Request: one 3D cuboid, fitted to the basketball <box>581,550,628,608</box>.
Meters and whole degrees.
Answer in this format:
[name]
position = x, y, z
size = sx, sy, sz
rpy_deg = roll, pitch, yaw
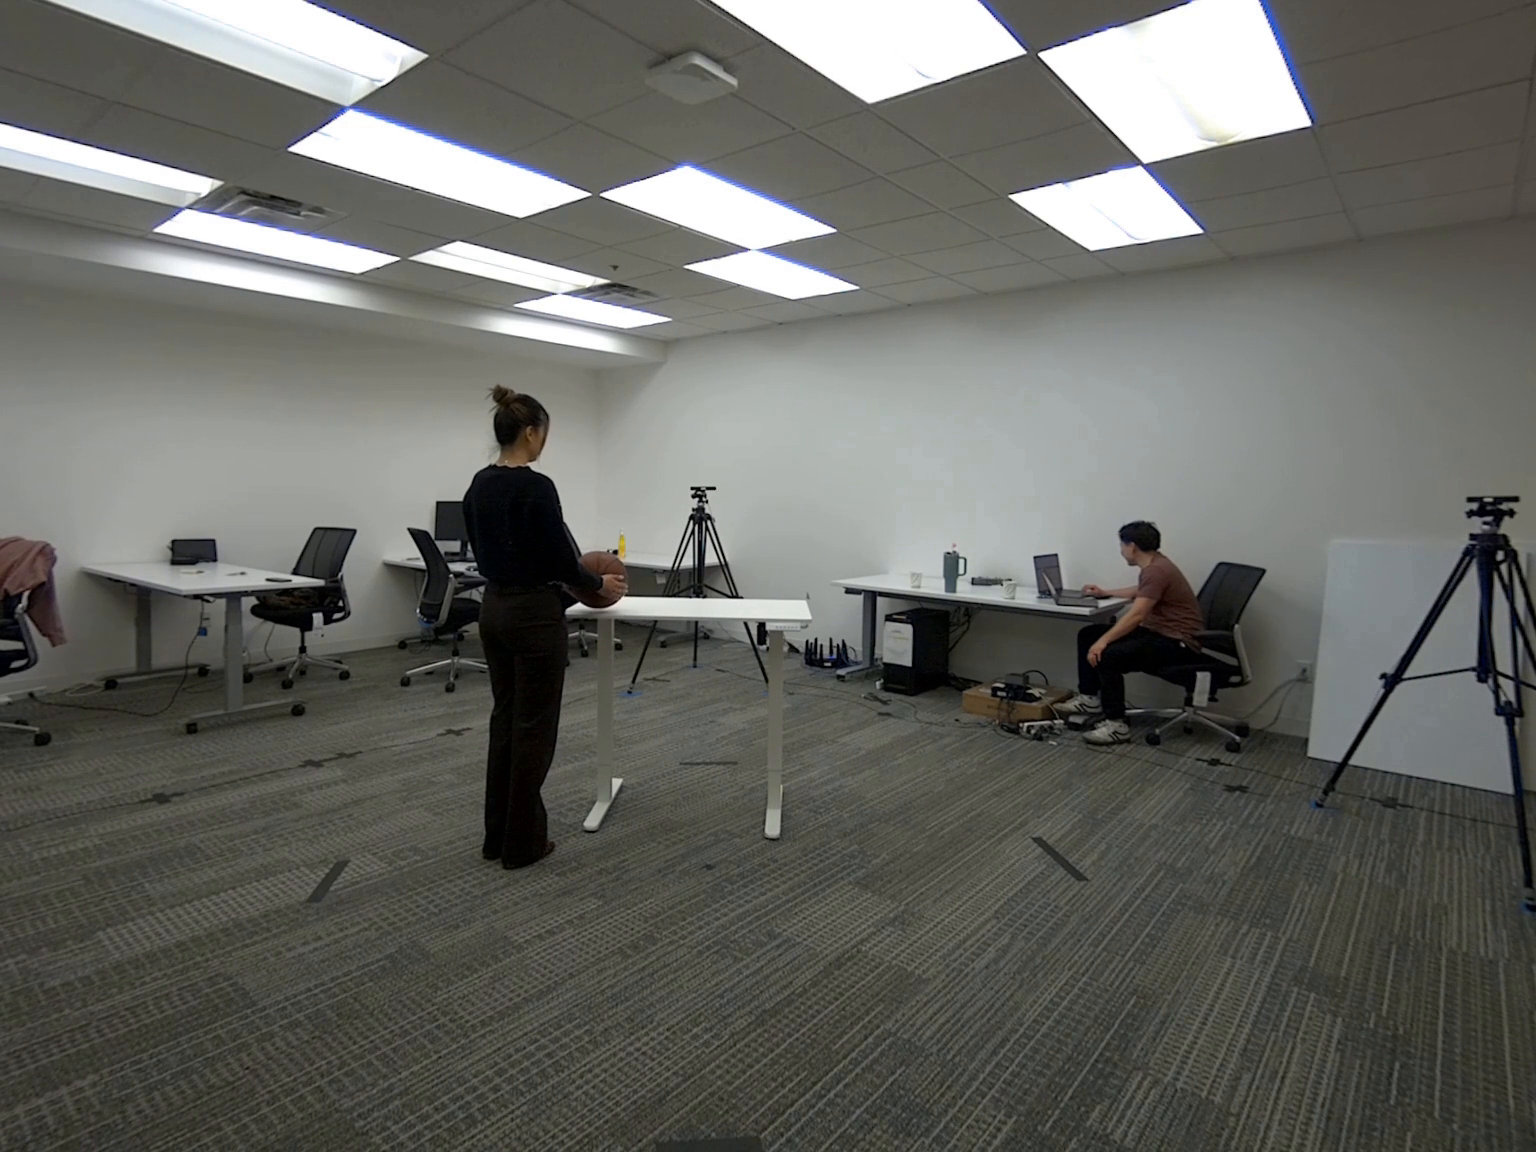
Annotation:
[basketball]
position = -0.696, 0.011, 3.445
size = 0.235, 0.235, 0.237
rpy_deg = 1, 4, -2
